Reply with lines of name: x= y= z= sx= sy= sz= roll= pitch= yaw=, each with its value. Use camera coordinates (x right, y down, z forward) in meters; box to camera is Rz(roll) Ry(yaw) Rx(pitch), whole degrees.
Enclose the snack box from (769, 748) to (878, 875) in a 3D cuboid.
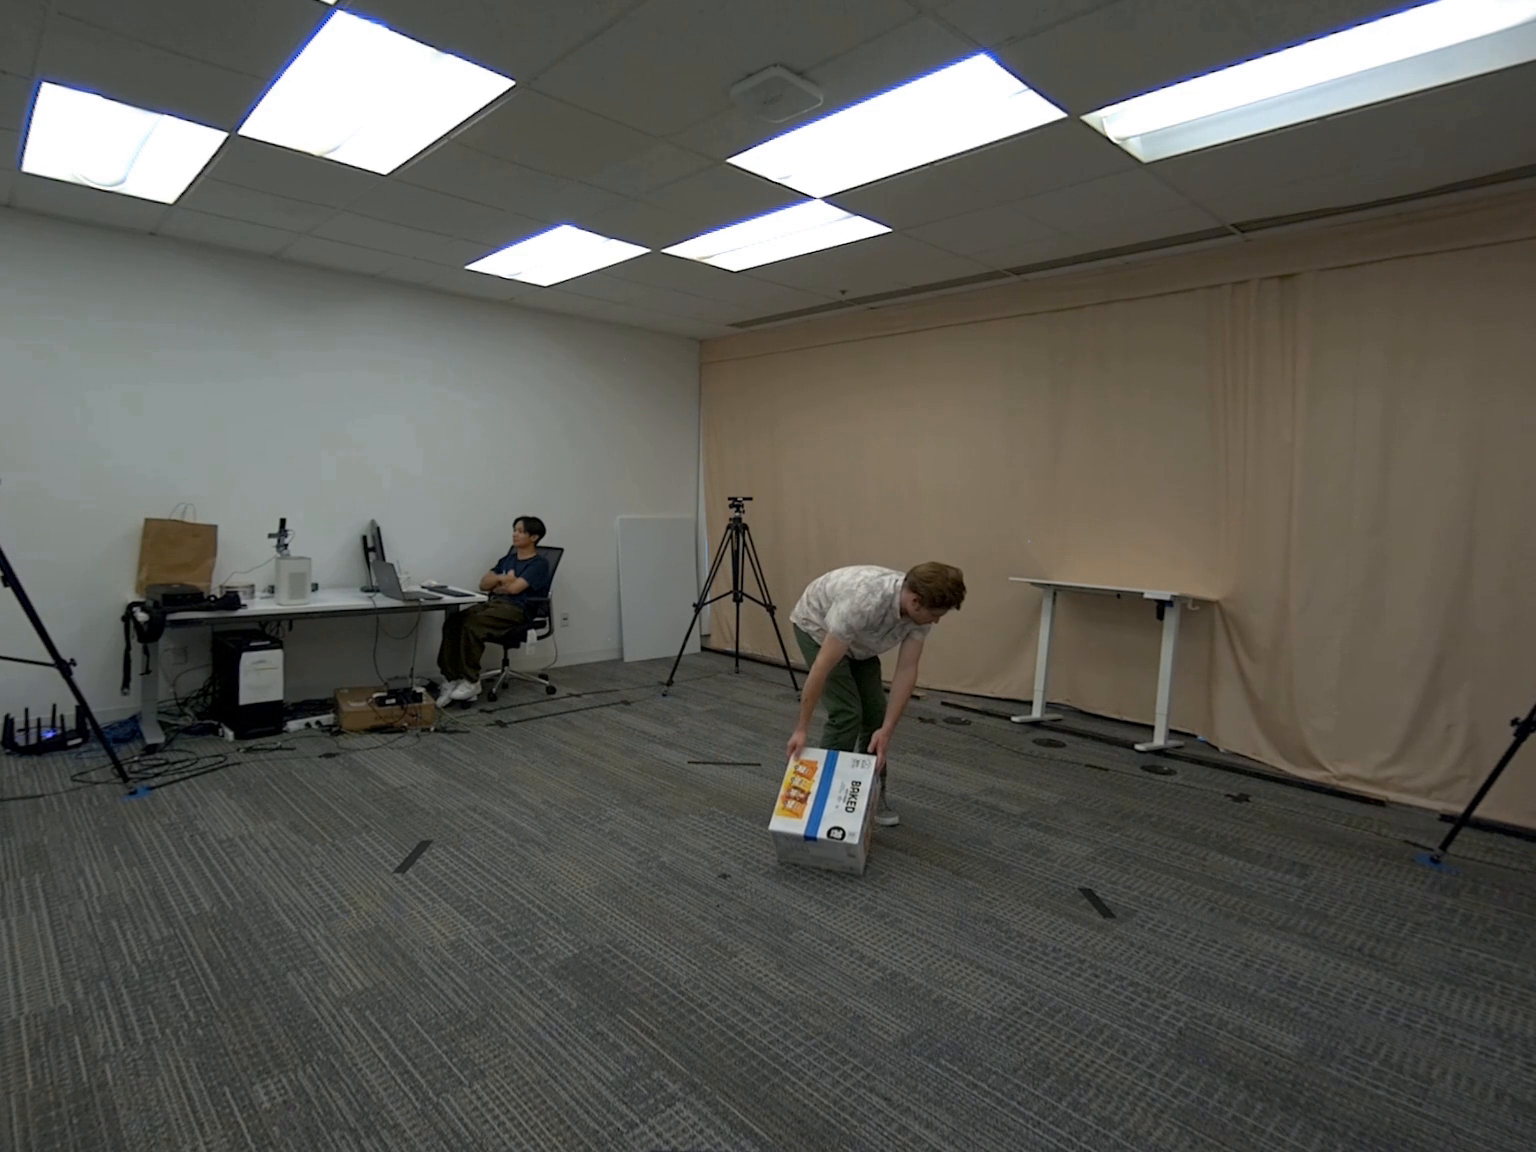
snack box: x=0.226 y=0.906 z=3.277 sx=0.346 sy=0.200 sz=0.409 roll=1 pitch=39 yaw=20
